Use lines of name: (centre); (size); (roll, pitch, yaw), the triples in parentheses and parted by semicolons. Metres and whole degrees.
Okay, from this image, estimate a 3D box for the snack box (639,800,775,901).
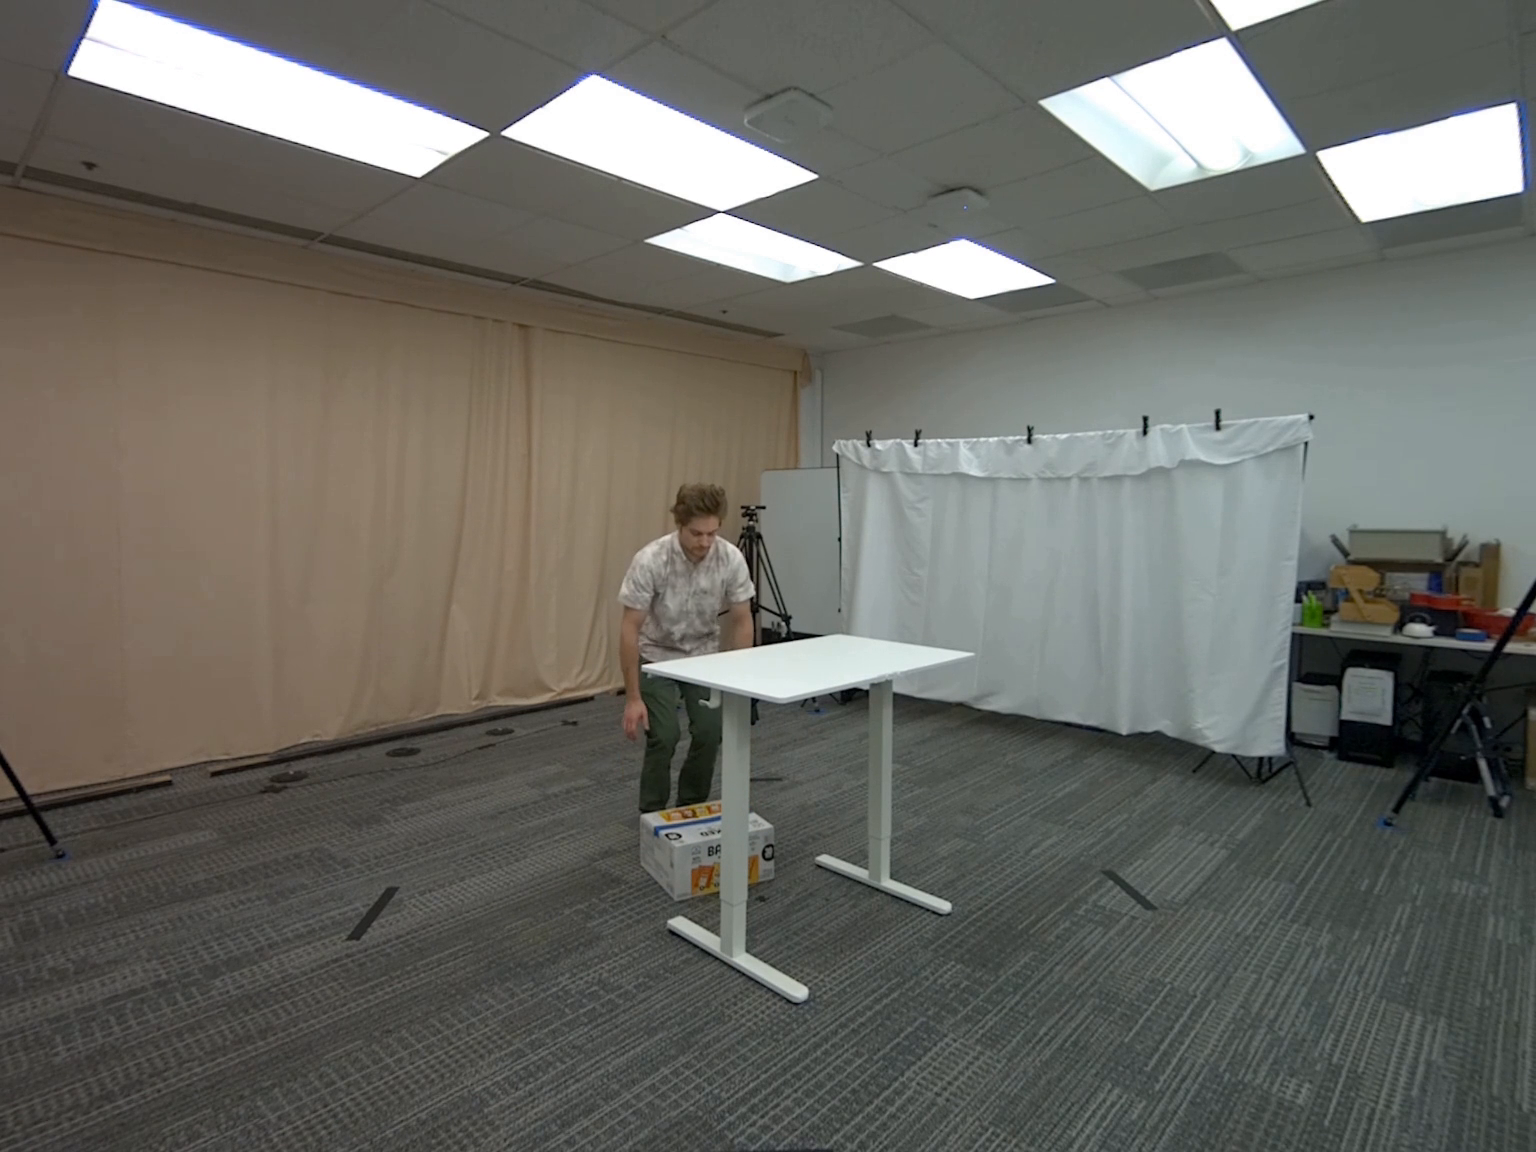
snack box: (-0.233, 1.027, 3.189); (0.395, 0.205, 0.350); (-3, 5, -28)
